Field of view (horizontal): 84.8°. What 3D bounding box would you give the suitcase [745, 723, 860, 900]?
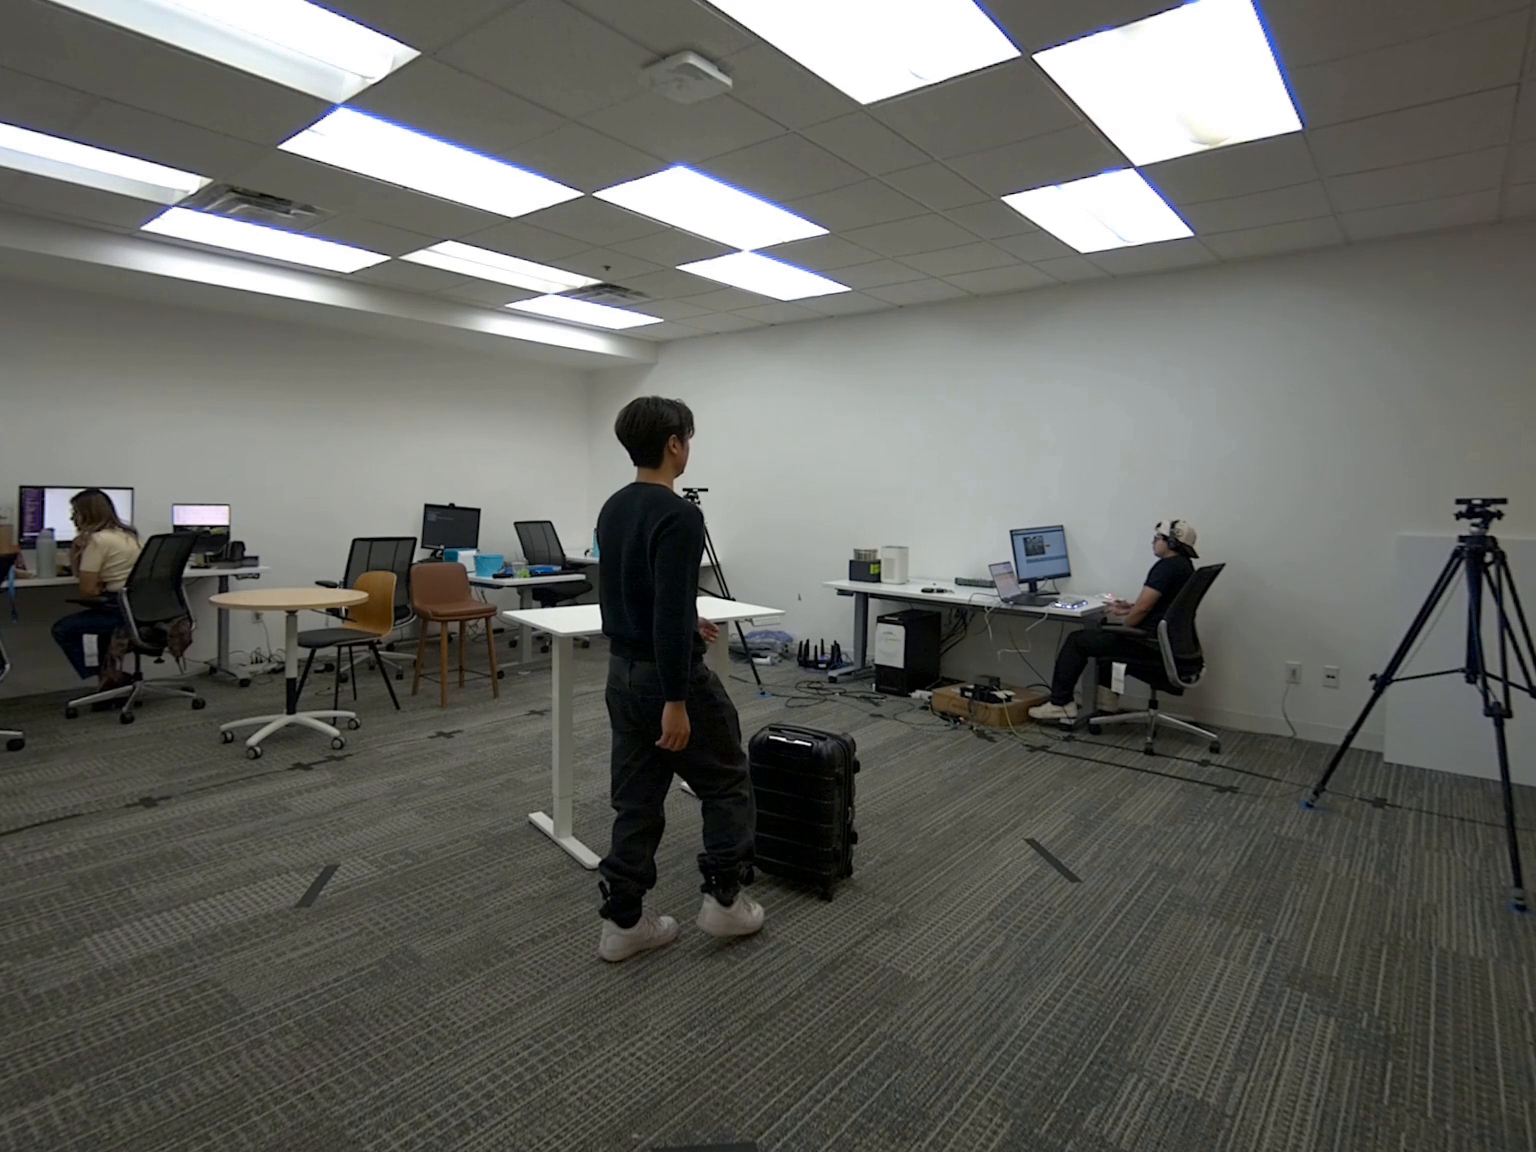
[{"bbox_3d":[0.108,0.802,3.035,0.386,0.547,0.242,3,4,27],"label":"suitcase"}]
